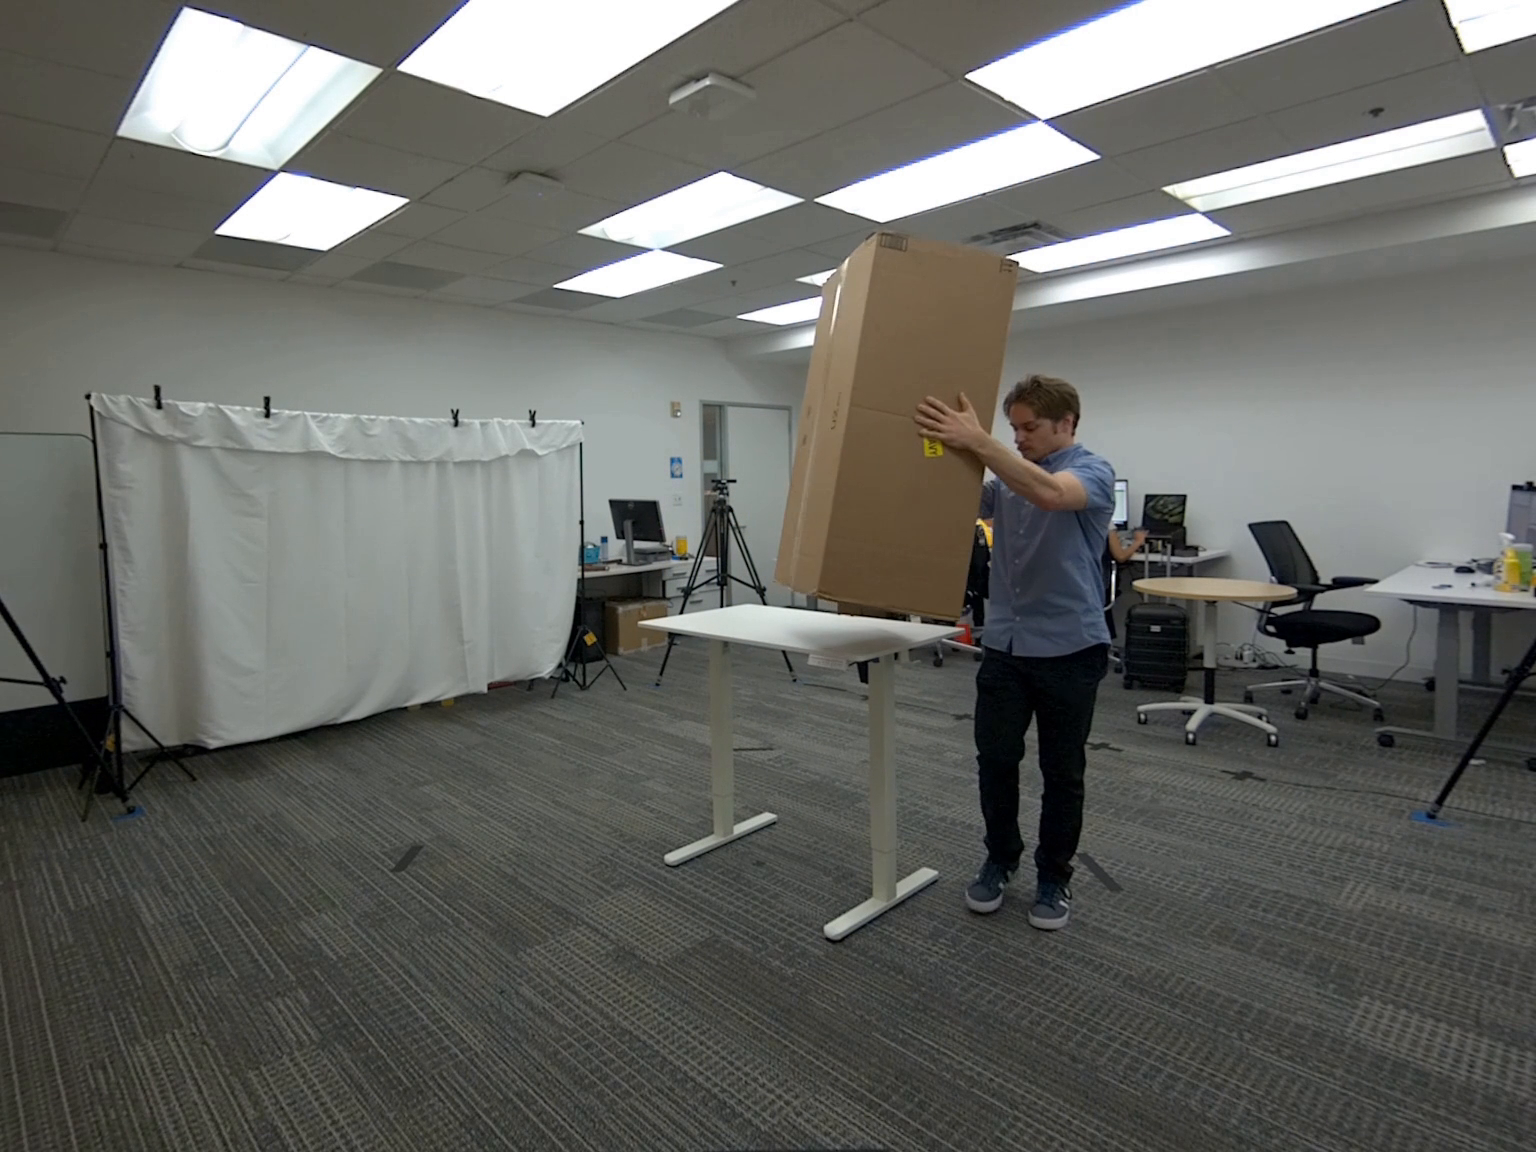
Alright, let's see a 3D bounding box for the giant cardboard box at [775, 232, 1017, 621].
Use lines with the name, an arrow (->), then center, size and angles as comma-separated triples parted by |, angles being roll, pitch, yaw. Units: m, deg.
giant cardboard box -> 0.364, -0.423, 2.622 | 0.421, 1.026, 0.584 | 9, 0, -11
